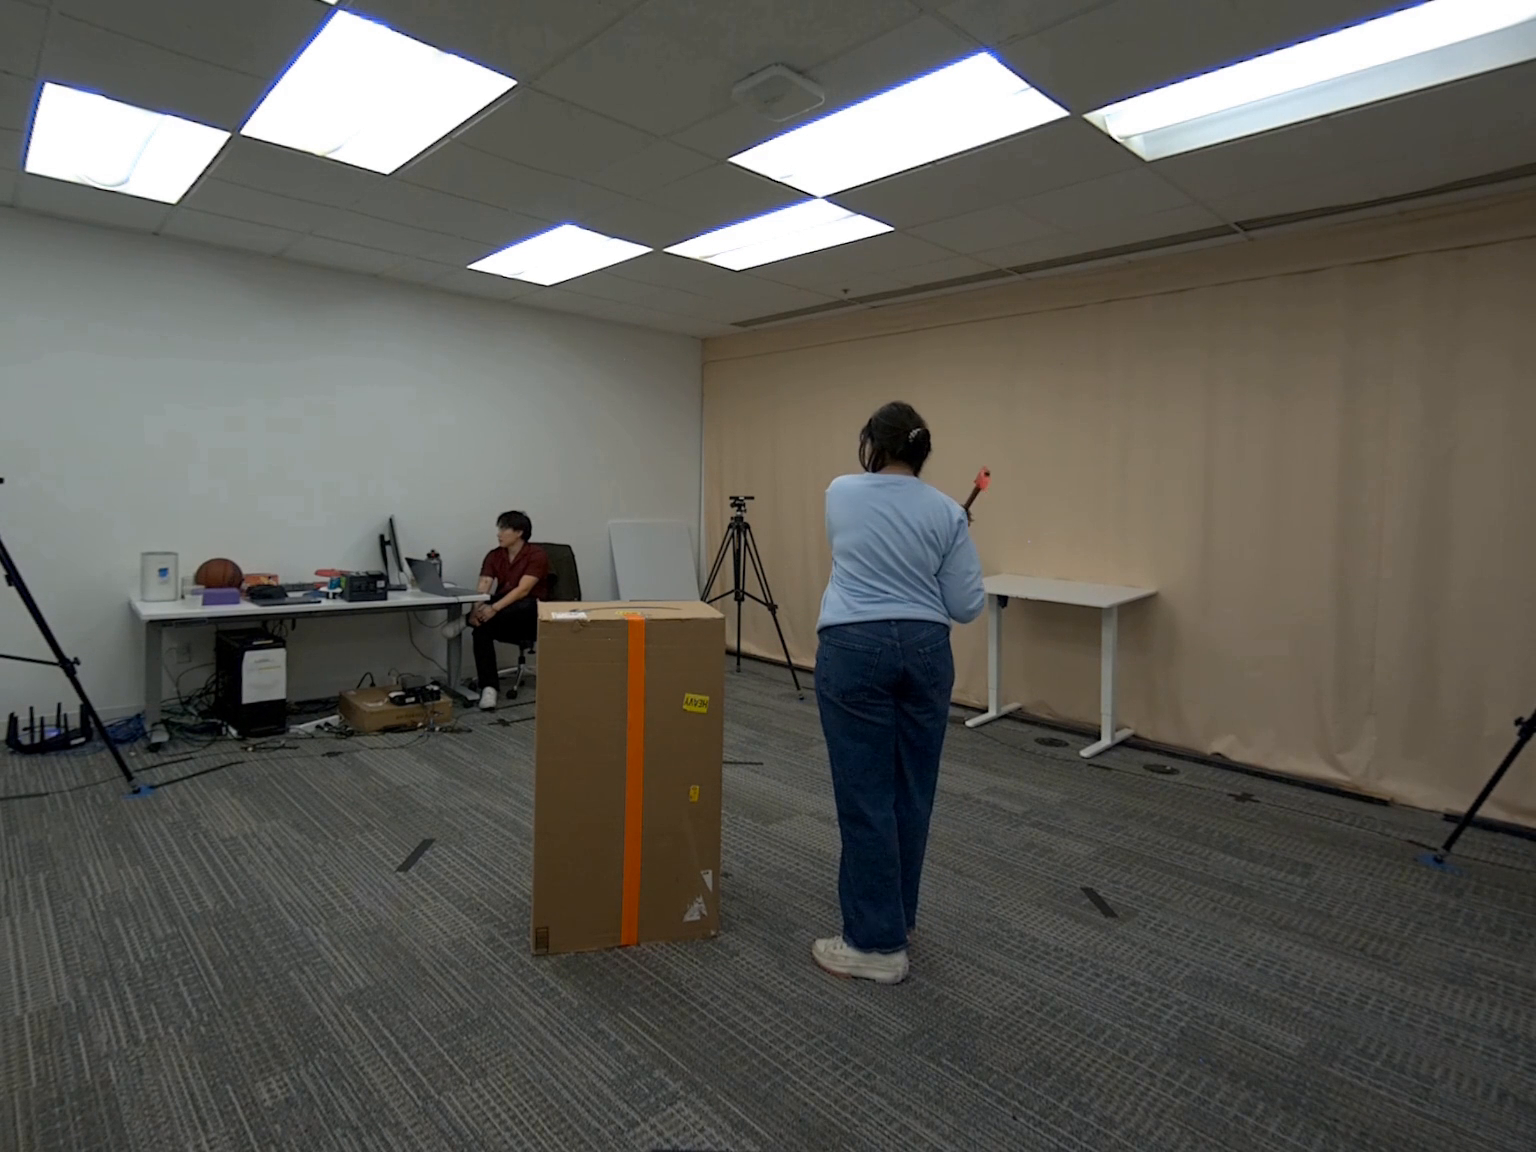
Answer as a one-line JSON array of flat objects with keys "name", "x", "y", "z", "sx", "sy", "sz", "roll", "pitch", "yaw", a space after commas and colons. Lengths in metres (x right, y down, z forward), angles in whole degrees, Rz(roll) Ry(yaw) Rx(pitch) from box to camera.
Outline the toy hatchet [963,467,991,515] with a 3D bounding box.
[{"name": "toy hatchet", "x": 0.622, "y": -0.250, "z": 2.641, "sx": 0.029, "sy": 0.132, "sz": 0.268, "roll": 22, "pitch": -32, "yaw": -6}]
